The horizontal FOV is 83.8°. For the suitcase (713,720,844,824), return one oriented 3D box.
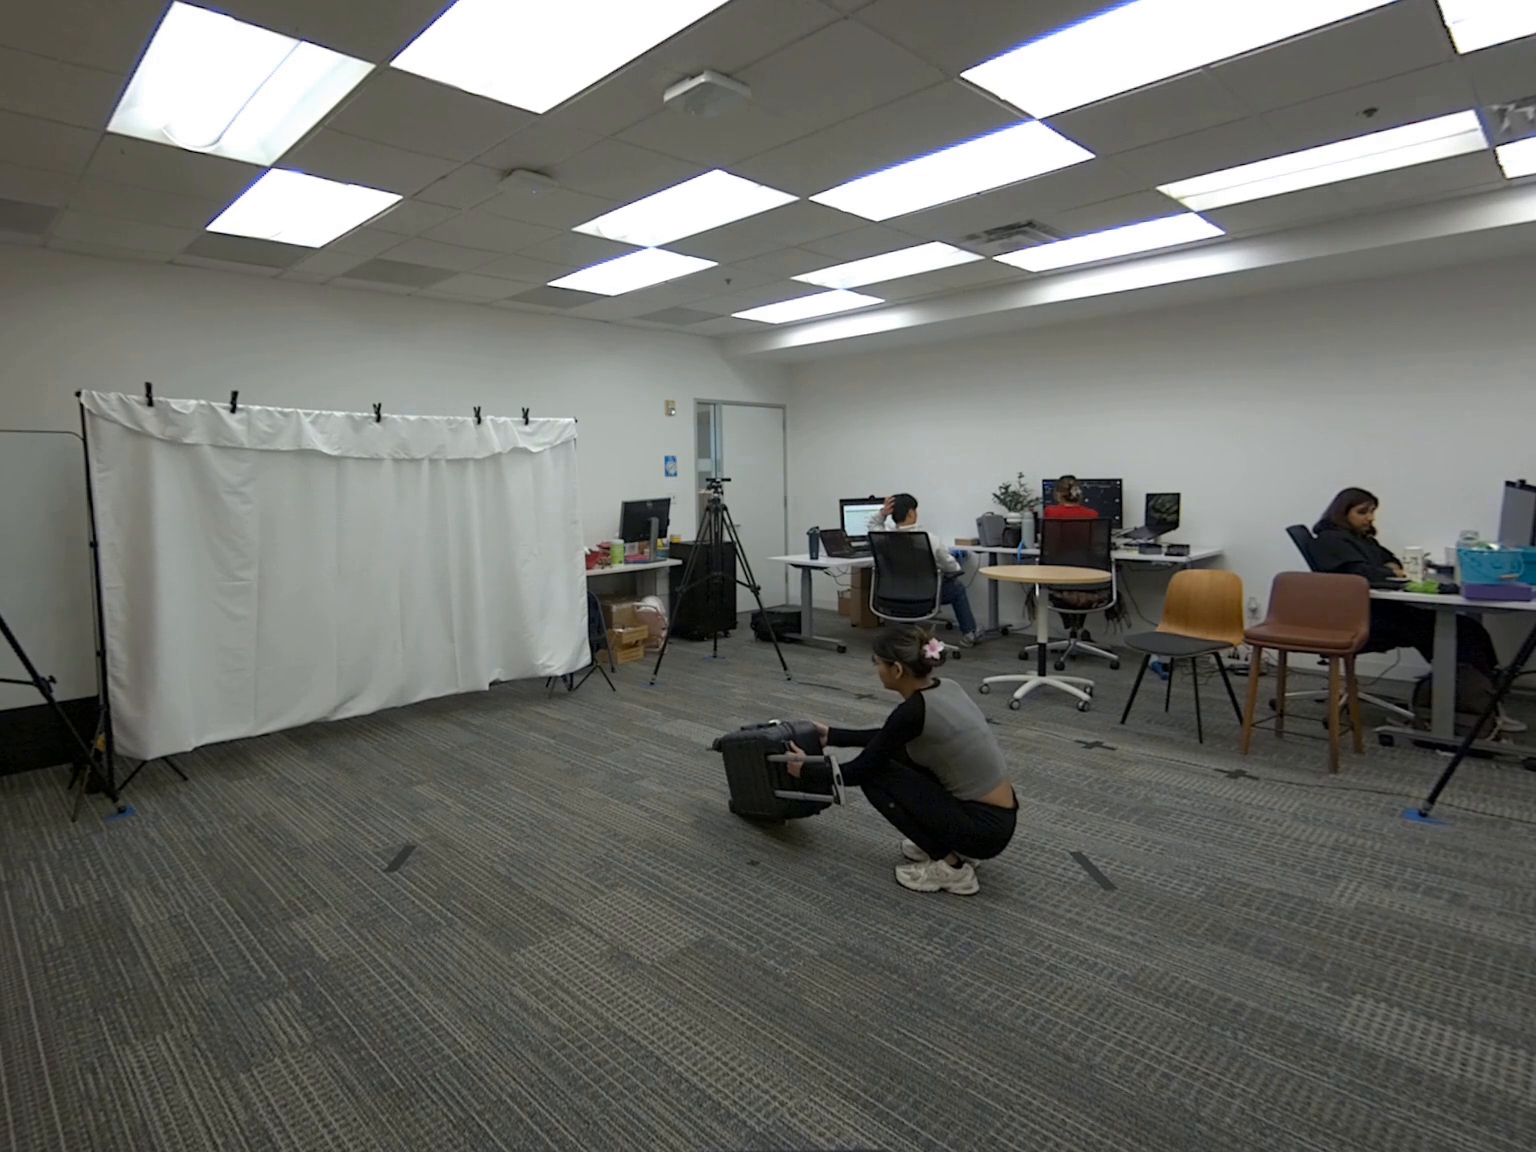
[{"bbox_3d":[0.113,0.735,3.247,0.251,0.388,0.989,-4,-10,-27],"label":"suitcase"}]
